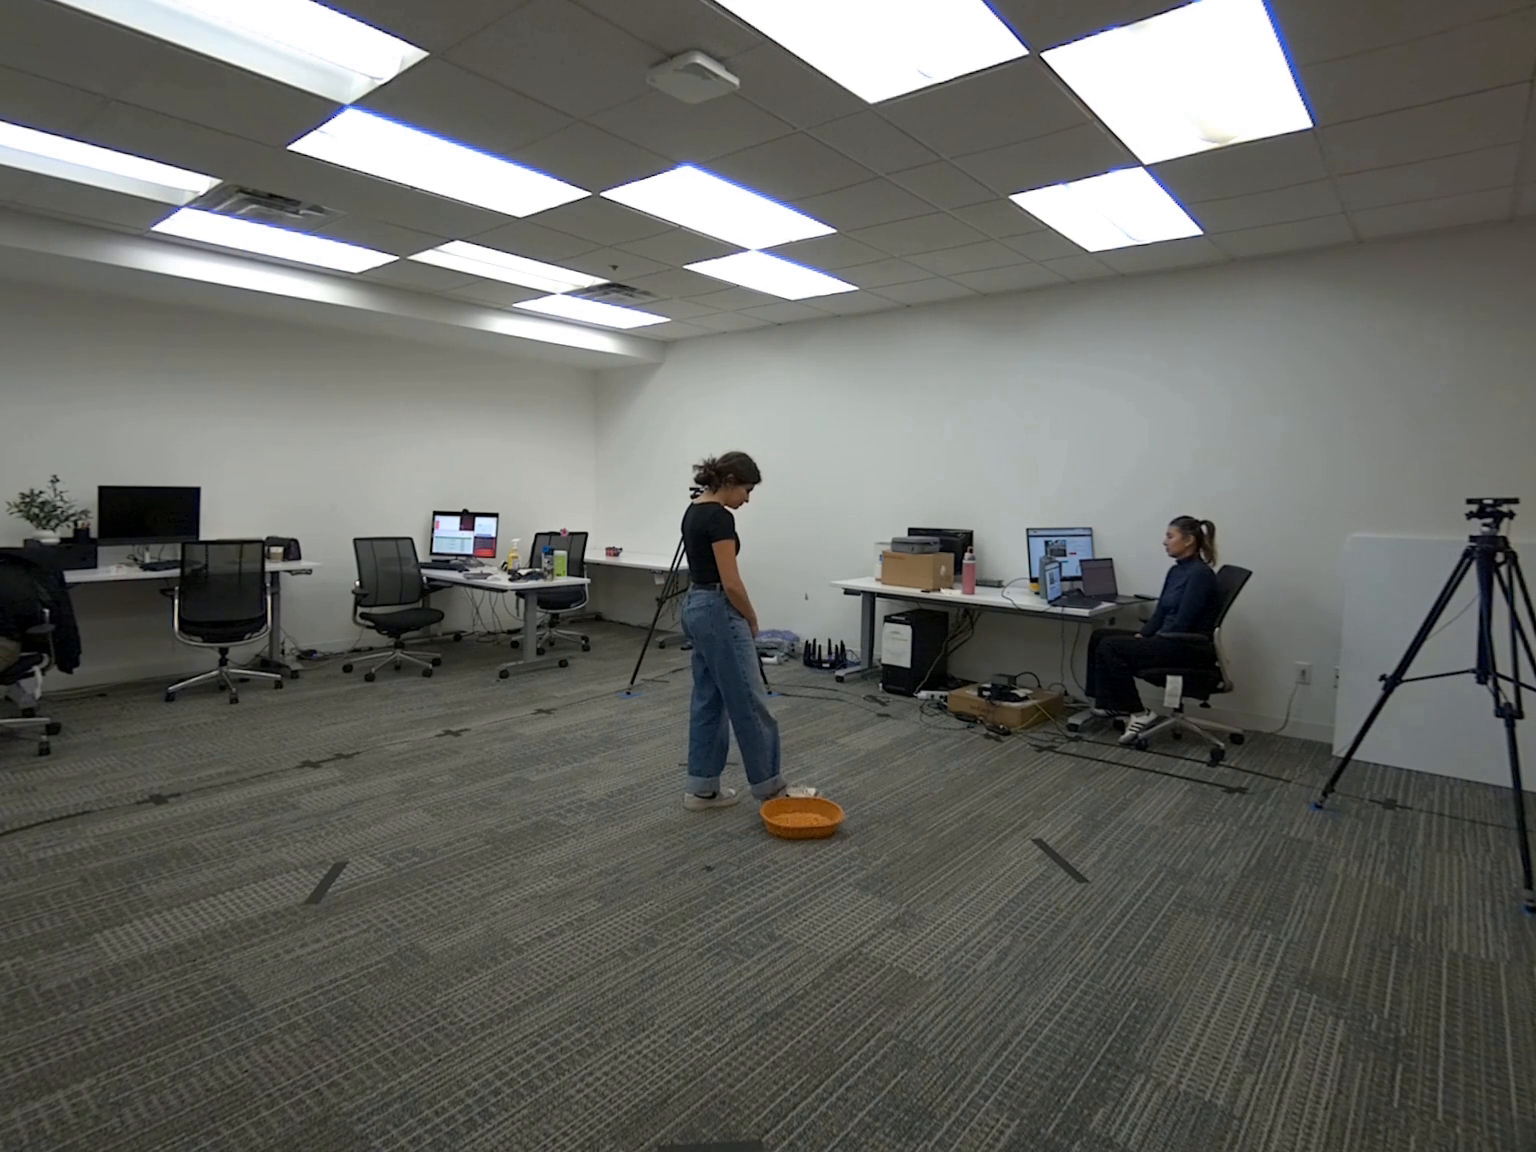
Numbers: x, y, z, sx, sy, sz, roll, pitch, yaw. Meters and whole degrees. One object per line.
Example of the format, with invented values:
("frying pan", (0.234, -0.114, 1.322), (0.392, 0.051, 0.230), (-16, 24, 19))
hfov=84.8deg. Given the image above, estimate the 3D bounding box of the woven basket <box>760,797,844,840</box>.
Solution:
("woven basket", (0.126, 0.987, 3.475), (0.346, 0.073, 0.258), (0, 12, -12))
